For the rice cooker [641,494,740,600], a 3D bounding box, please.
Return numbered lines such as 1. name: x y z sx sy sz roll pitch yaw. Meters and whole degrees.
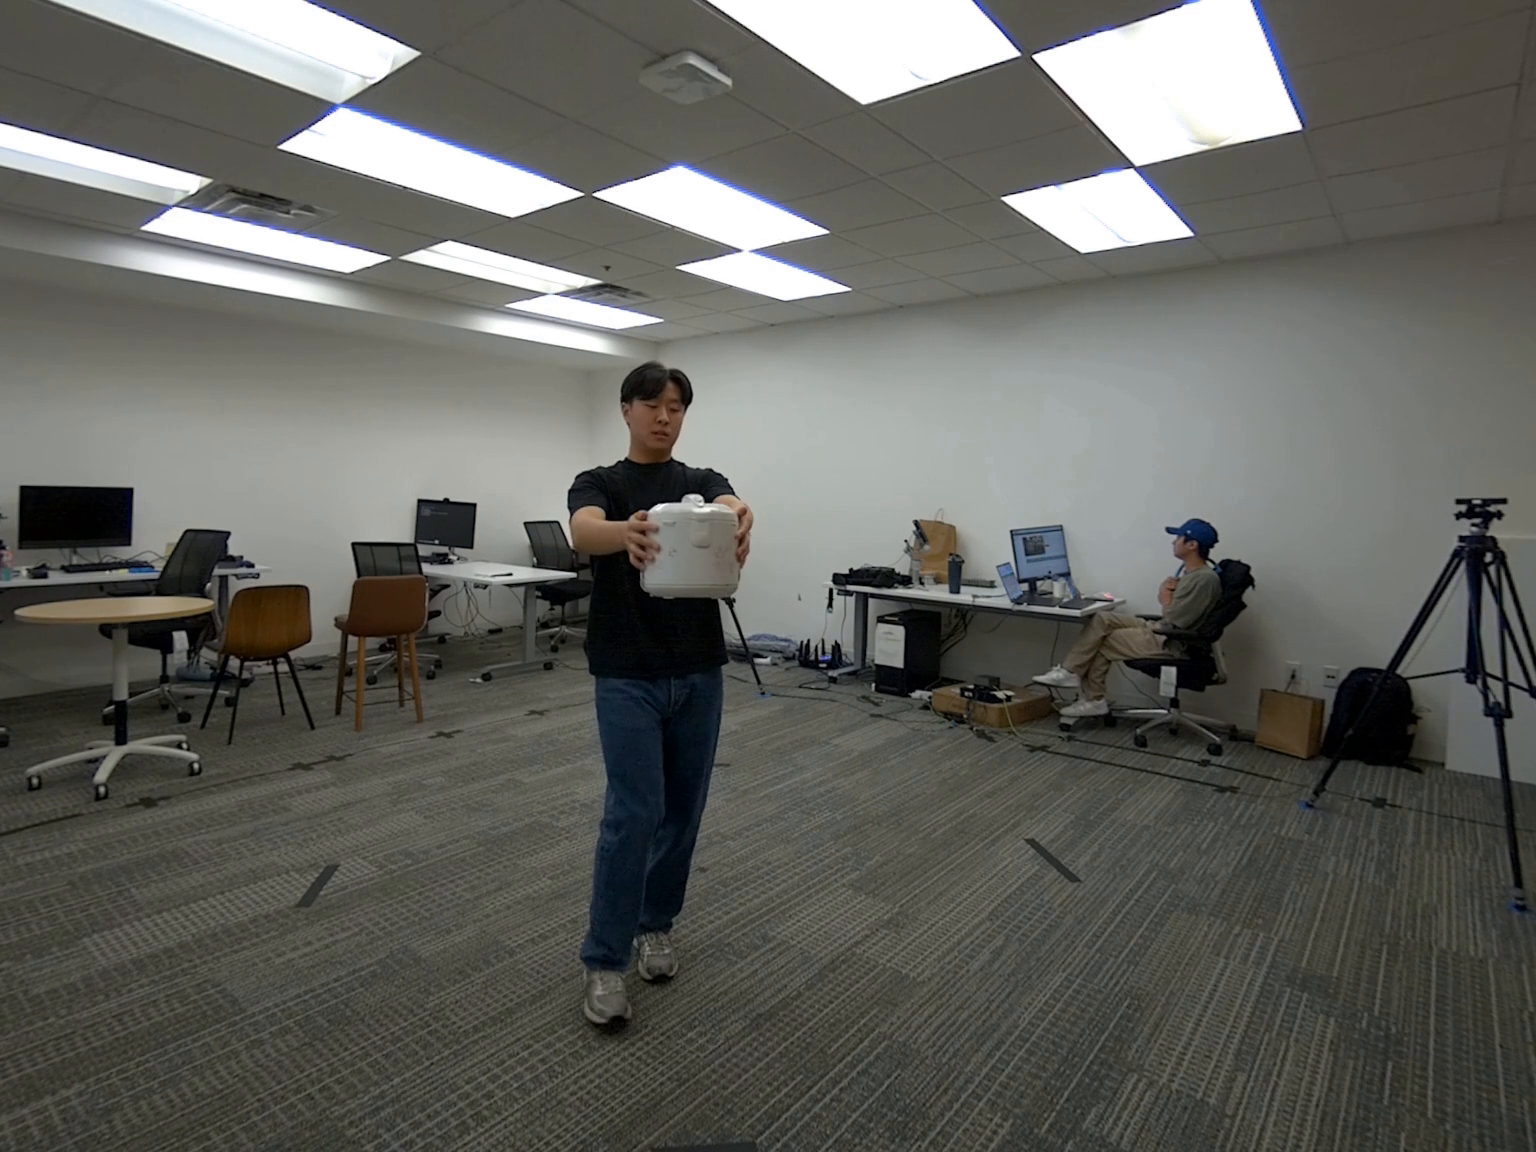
1. rice cooker: -0.174 -0.073 1.920 0.214 0.233 0.224 0 -1 -15
